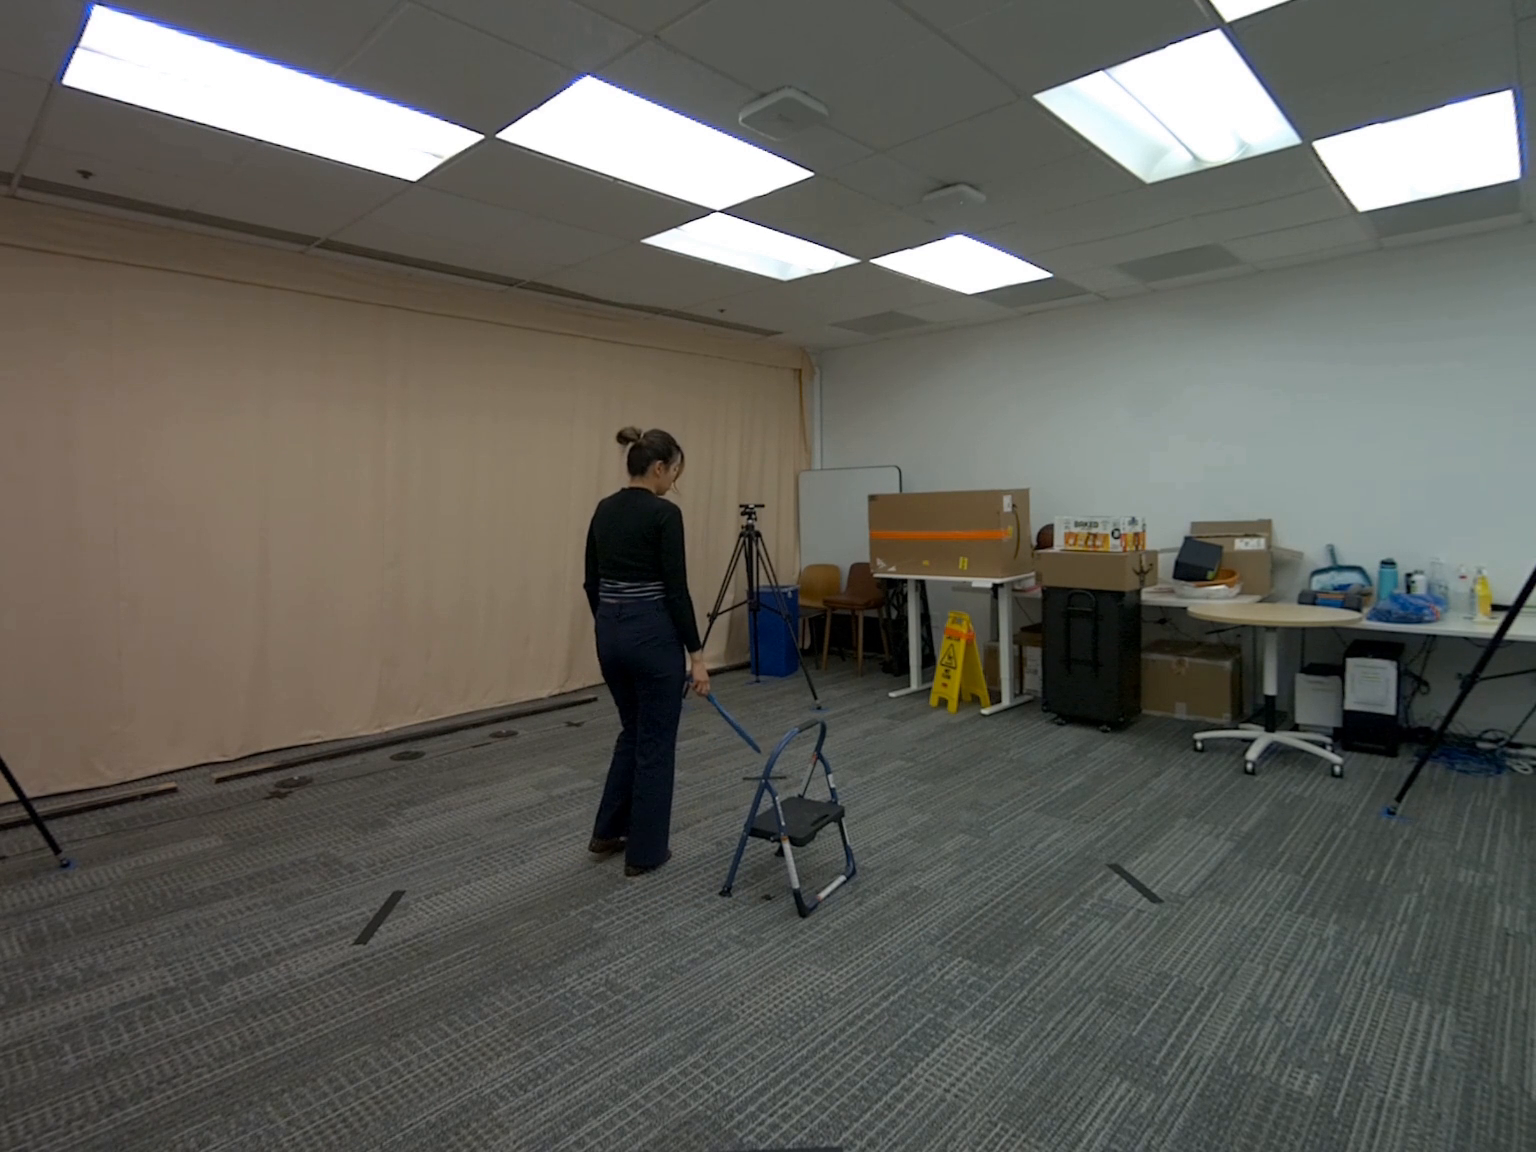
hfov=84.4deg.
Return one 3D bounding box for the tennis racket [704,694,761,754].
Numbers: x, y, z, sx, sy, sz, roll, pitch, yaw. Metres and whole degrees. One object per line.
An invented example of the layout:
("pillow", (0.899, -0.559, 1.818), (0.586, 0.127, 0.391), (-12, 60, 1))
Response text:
("tennis racket", (-0.167, 0.552, 3.225), (0.031, 0.422, 0.220), (-36, 25, -10))
